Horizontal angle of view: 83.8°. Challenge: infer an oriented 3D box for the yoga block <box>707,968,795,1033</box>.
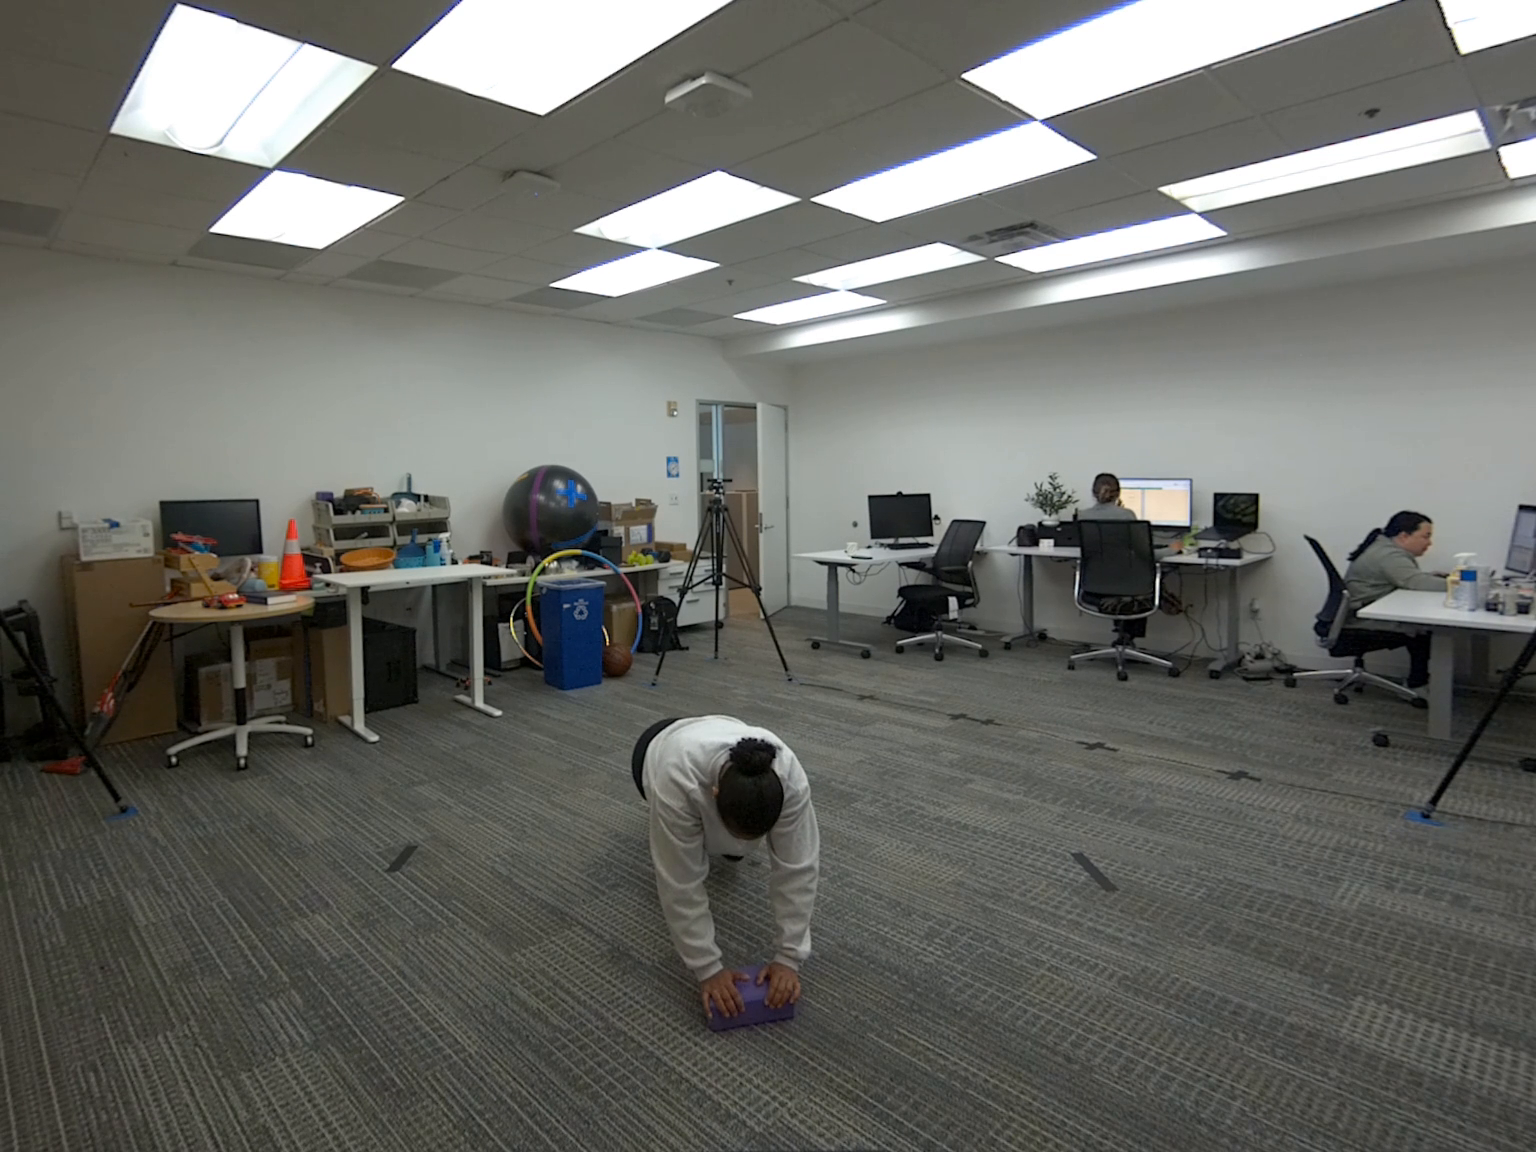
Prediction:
[{"bbox_3d":[-0.050,1.117,2.255,0.226,0.076,0.152,-3,7,-14],"label":"yoga block"}]
